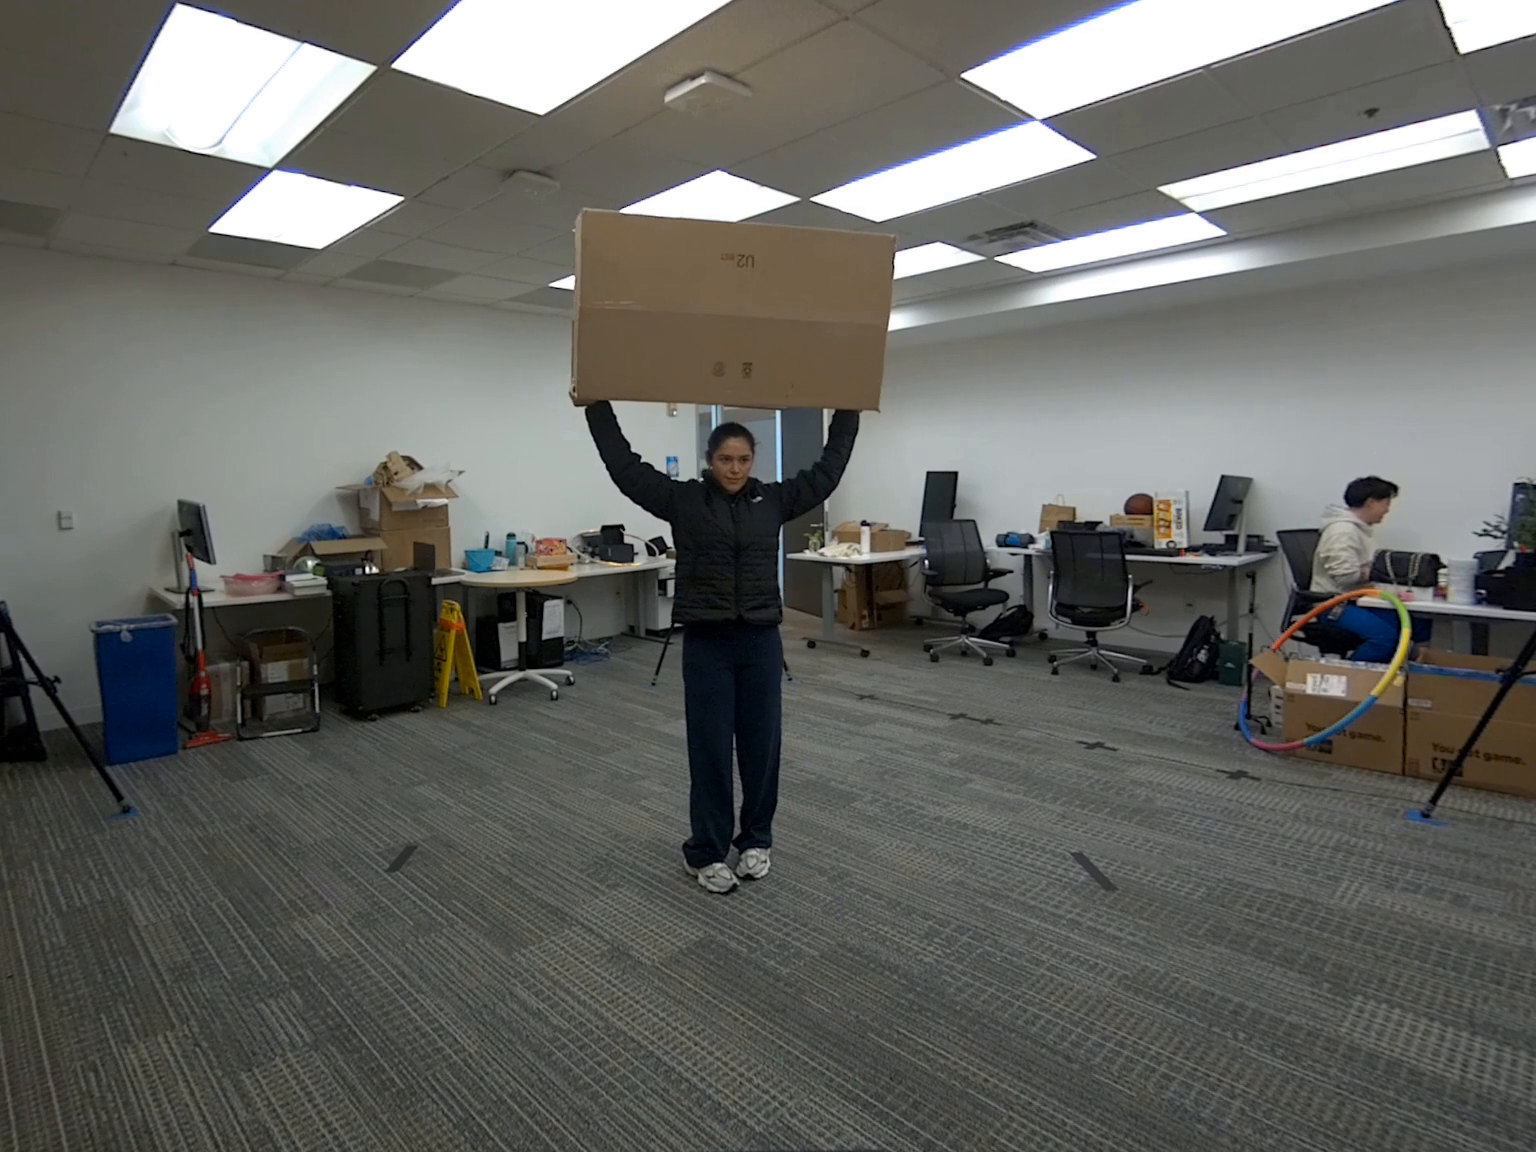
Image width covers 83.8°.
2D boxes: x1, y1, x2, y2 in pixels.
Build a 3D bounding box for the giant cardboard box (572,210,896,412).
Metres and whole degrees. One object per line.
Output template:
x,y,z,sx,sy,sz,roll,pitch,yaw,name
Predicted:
-0.145,-0.889,2.943,1.013,0.577,0.458,0,15,-14,giant cardboard box
